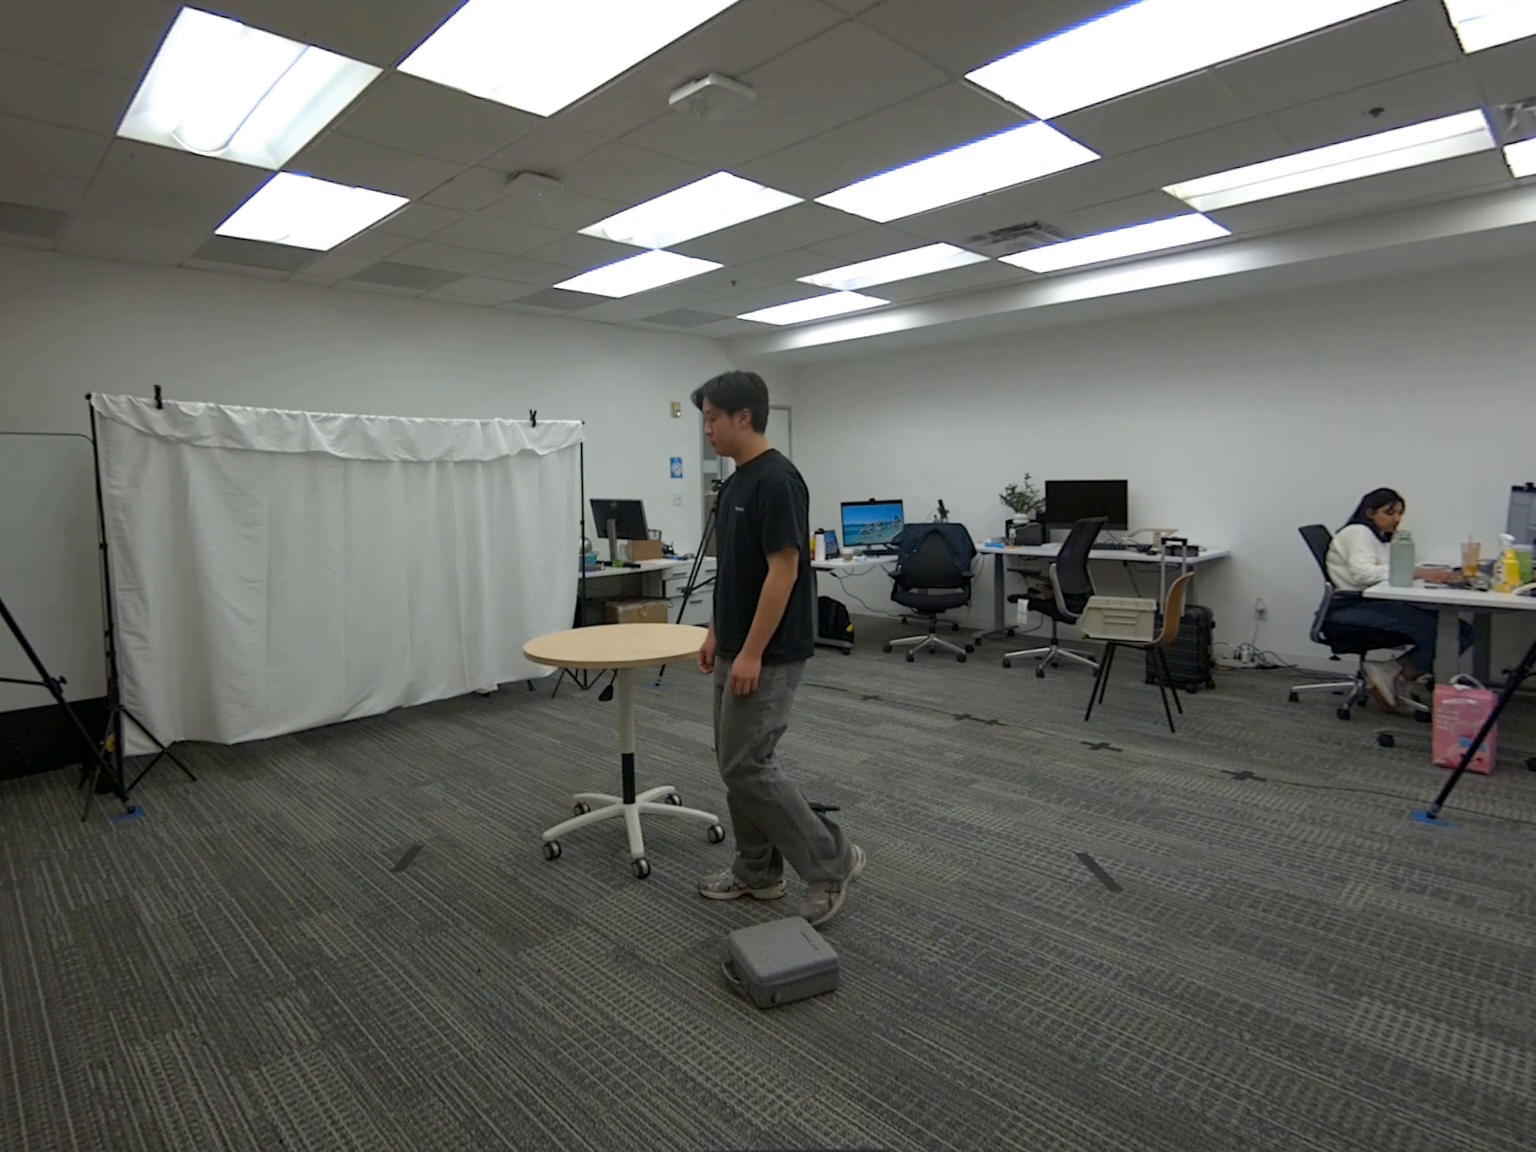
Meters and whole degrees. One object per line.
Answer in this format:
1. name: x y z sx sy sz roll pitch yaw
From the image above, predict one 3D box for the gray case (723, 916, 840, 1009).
1. gray case: 0.030 1.082 2.388 0.282 0.102 0.269 -4 7 -21
